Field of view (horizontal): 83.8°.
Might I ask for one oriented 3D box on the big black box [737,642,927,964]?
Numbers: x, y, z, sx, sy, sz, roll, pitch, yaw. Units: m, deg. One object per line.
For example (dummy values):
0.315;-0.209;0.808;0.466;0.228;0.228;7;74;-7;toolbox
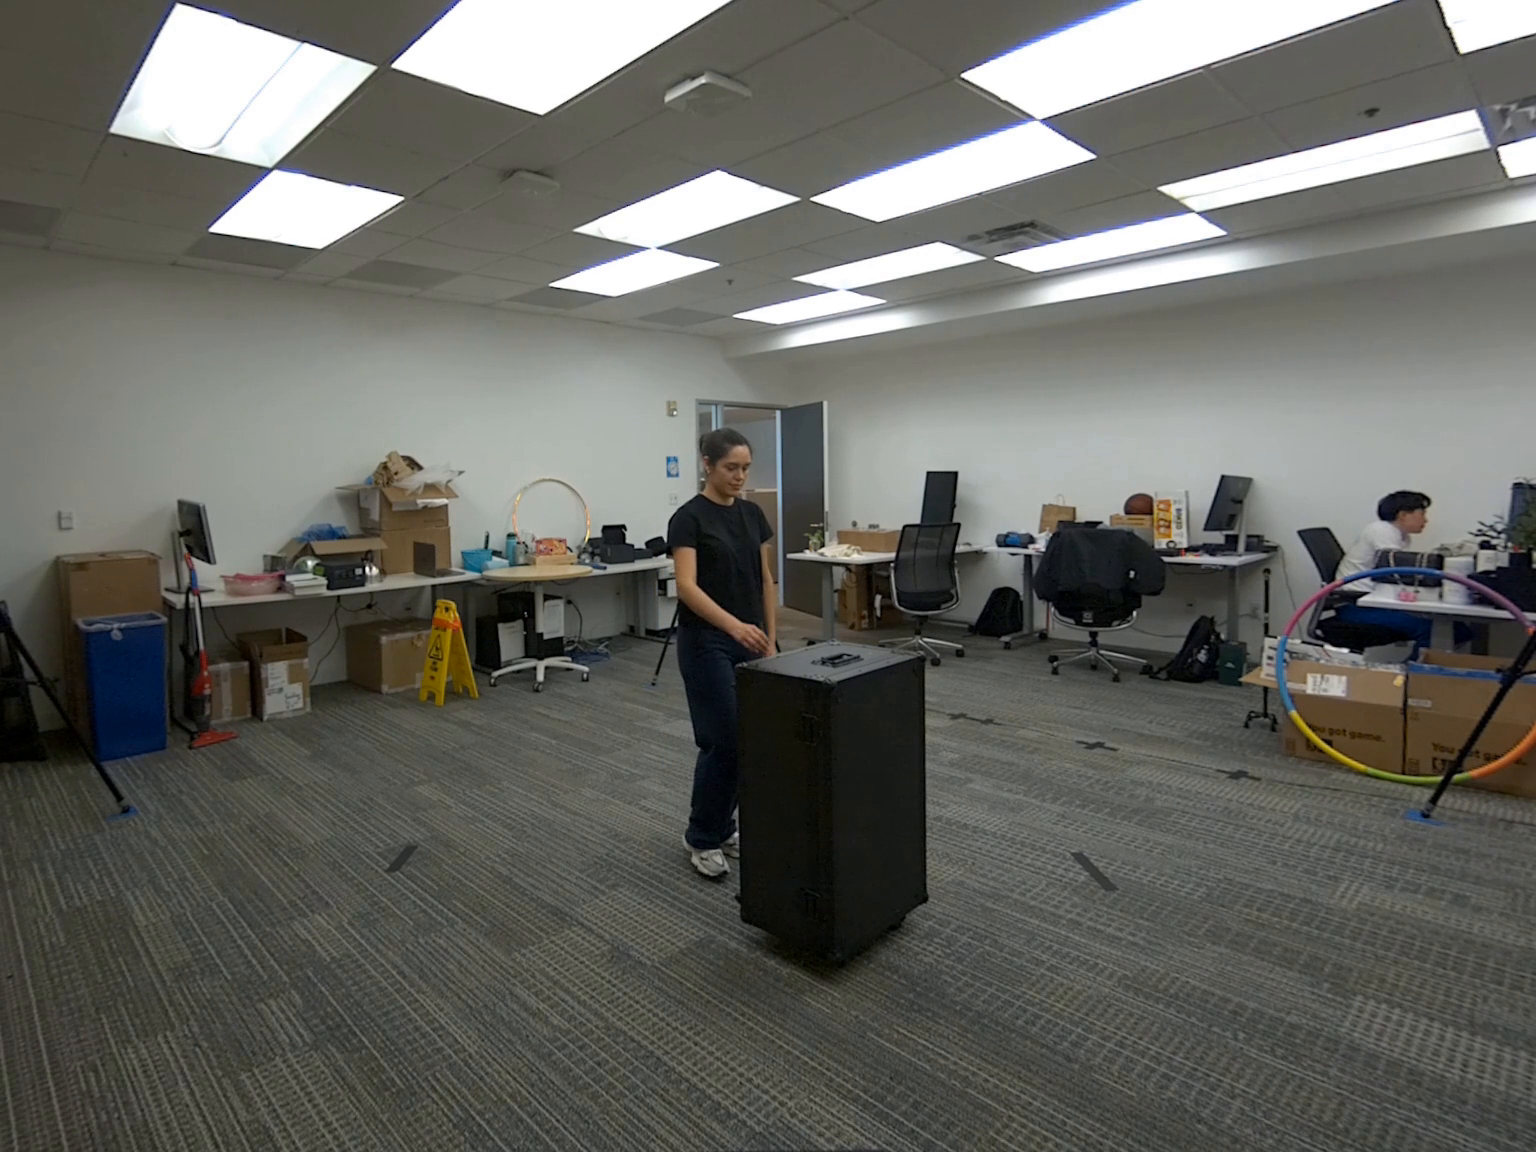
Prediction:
0.193;0.672;2.609;0.408;0.859;0.508;2;5;43;big black box
